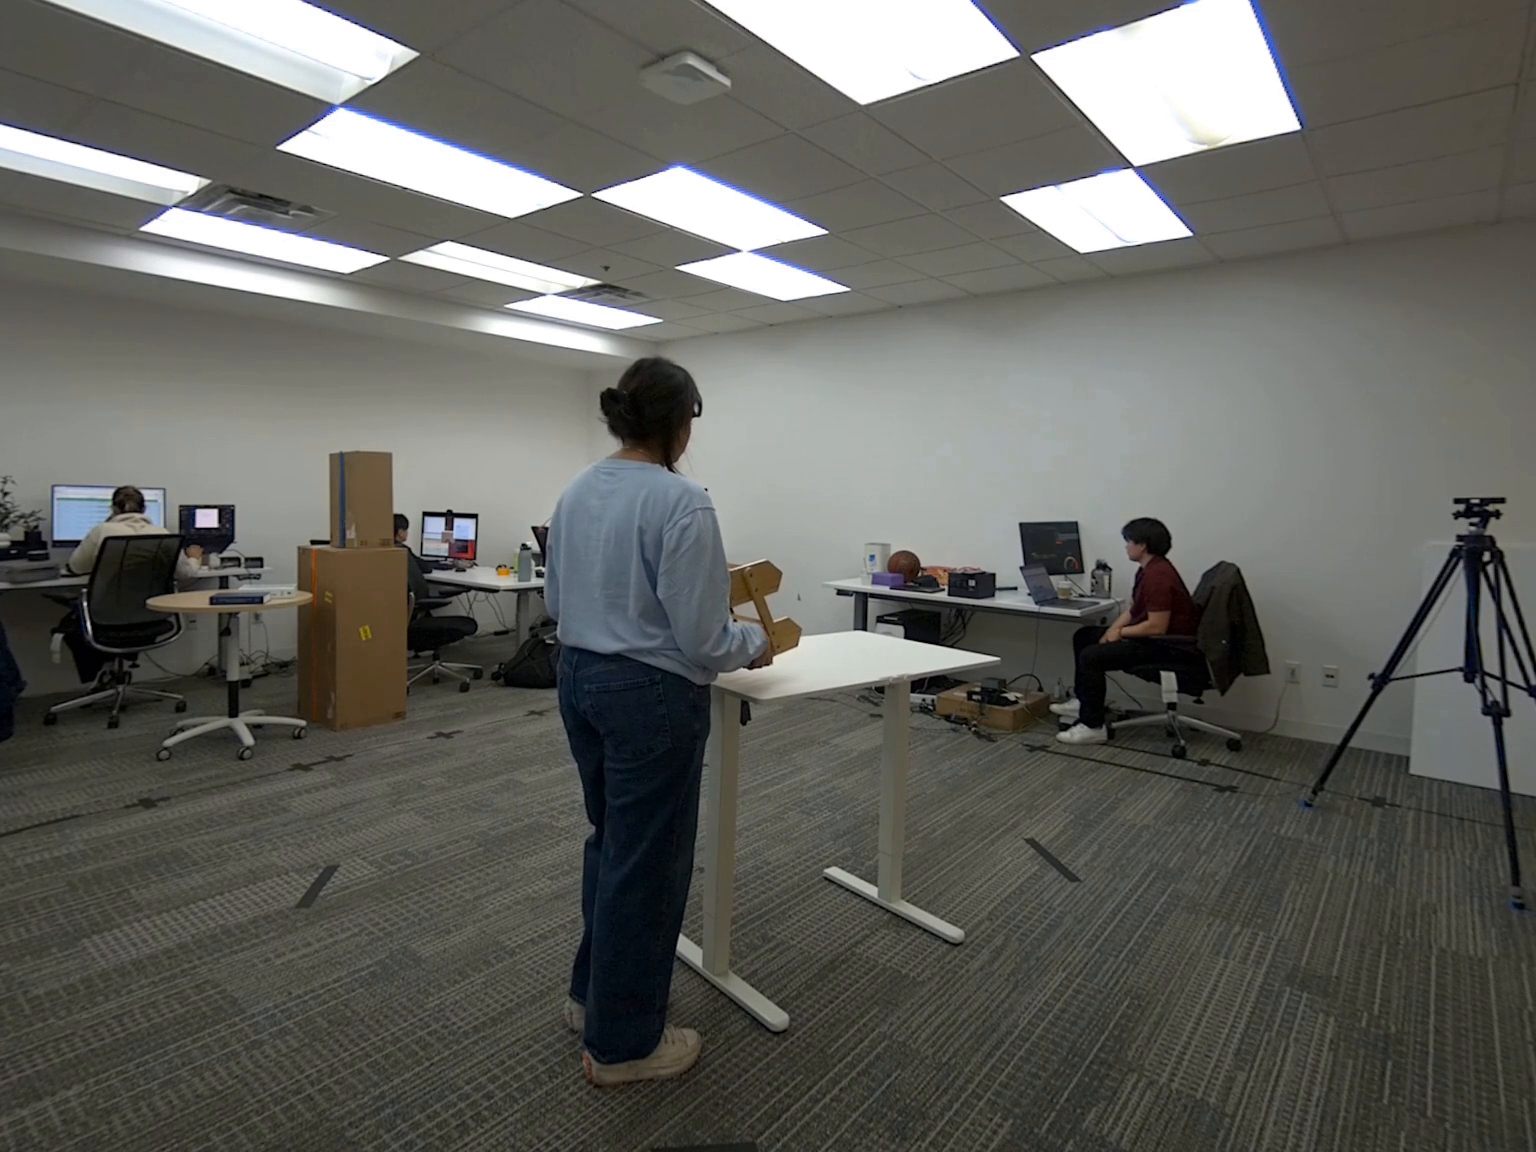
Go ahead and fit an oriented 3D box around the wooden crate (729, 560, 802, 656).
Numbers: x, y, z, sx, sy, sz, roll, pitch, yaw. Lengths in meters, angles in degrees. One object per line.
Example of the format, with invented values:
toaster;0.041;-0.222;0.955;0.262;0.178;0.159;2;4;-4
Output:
wooden crate;-0.128;0.060;2.260;0.335;0.270;0.295;8;15;35
